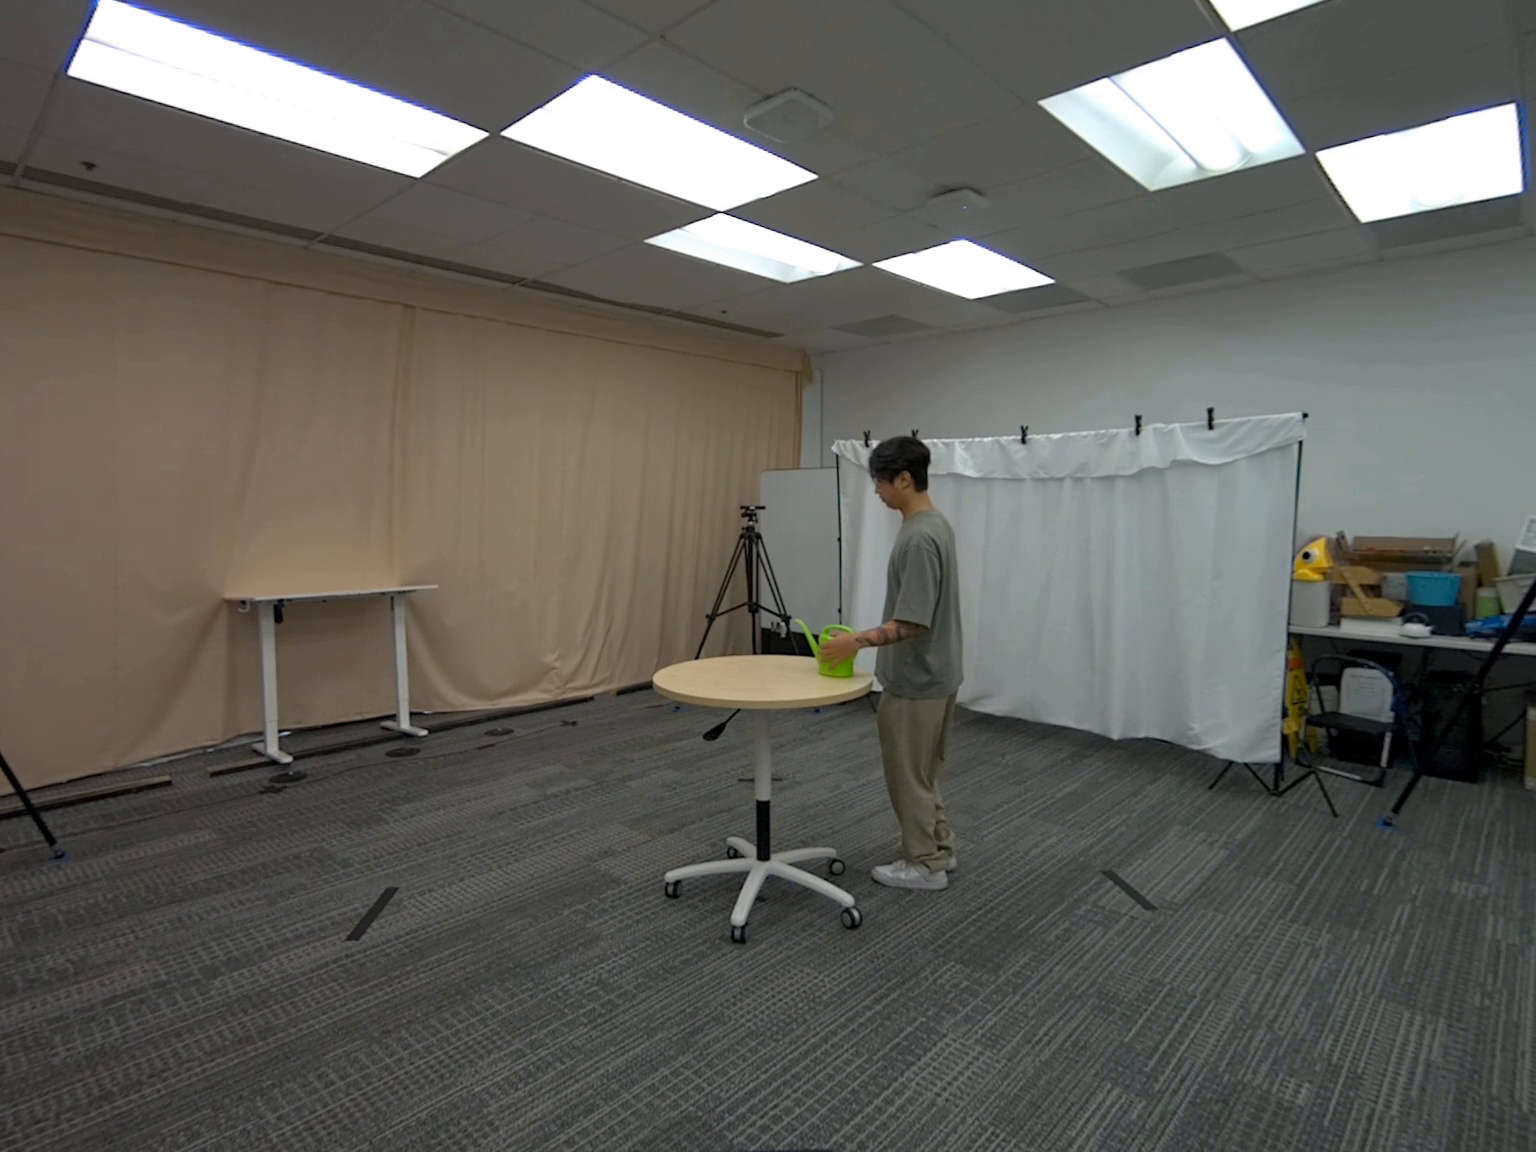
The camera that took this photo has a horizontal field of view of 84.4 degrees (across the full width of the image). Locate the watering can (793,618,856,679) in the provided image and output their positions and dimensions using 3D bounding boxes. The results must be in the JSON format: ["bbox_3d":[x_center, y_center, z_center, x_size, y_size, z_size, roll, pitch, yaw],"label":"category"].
[{"bbox_3d":[0.218,0.258,2.982,0.095,0.176,0.287,-3,7,-35],"label":"watering can"}]
